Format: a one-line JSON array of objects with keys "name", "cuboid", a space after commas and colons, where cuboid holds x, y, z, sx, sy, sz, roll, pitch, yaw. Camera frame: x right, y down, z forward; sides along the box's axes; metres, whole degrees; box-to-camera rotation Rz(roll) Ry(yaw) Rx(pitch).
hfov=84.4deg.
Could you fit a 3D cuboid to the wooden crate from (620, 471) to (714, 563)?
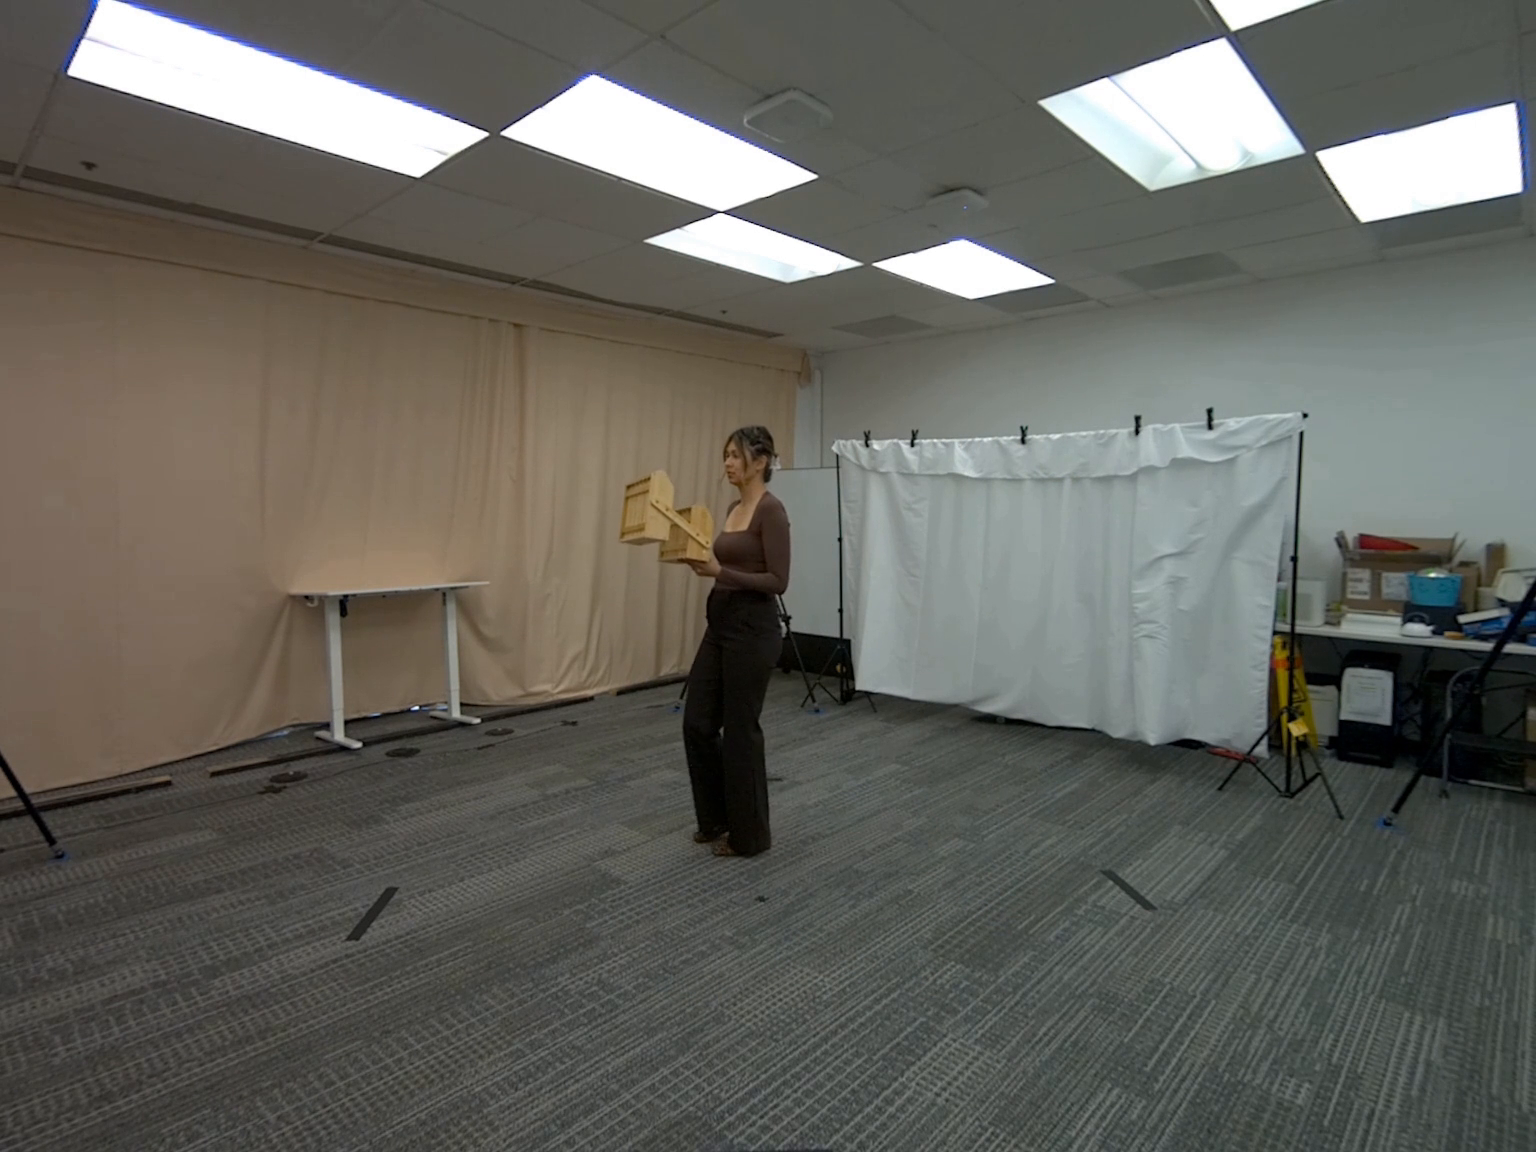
[{"name": "wooden crate", "cuboid": [-0.376, -0.214, 3.168, 0.266, 0.303, 0.332, 8, -6, -25]}]
